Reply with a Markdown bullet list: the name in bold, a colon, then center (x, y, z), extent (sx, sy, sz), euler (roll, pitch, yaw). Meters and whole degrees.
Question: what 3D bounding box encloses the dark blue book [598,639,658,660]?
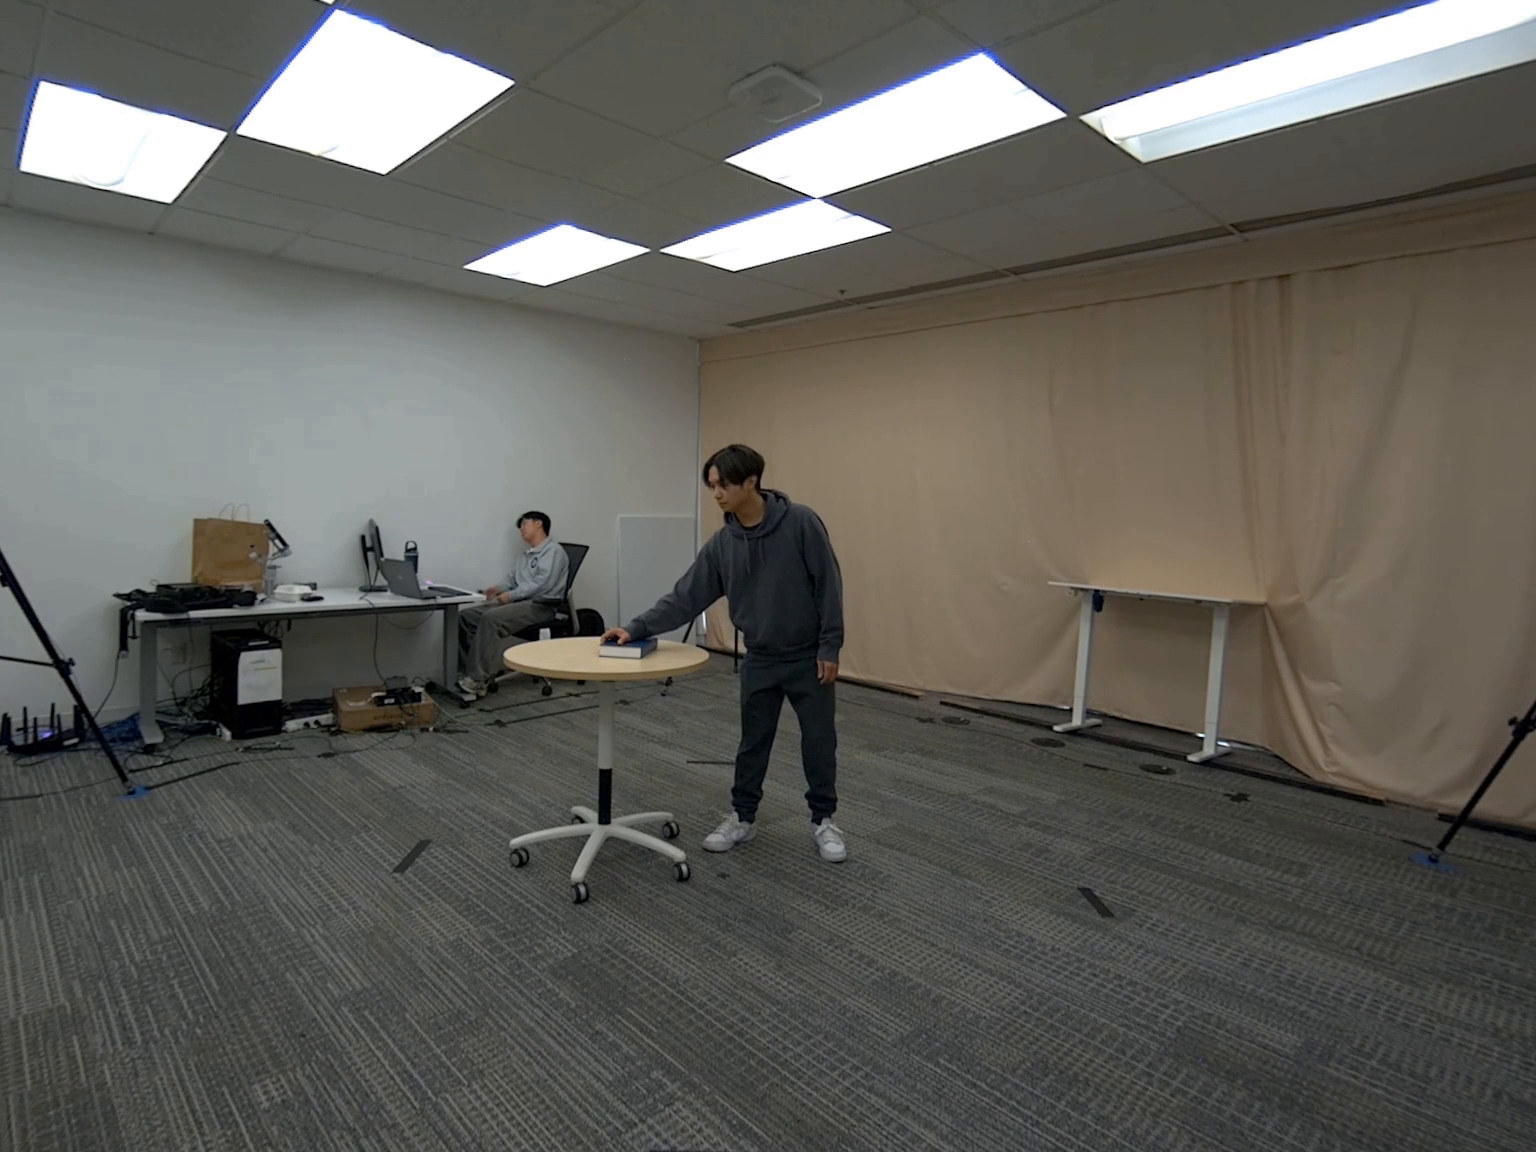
- **dark blue book**: center (-0.530, 0.272, 3.200), extent (0.164, 0.045, 0.244), euler (1, 5, 7)
